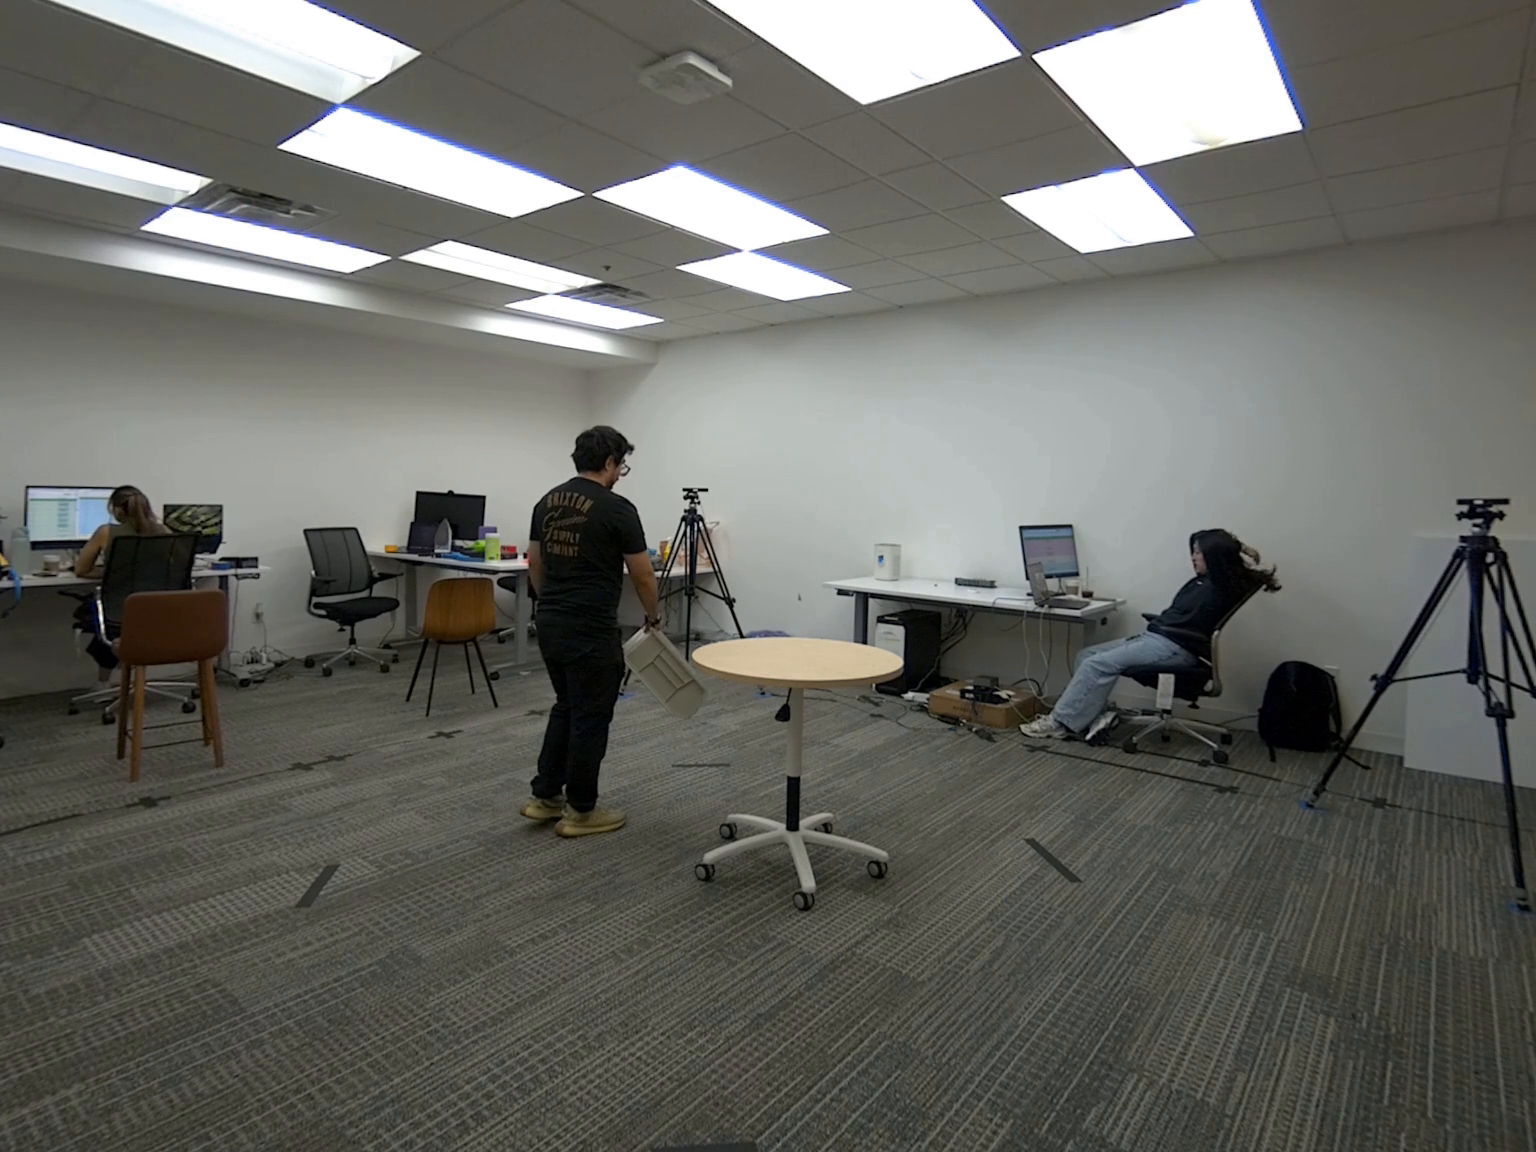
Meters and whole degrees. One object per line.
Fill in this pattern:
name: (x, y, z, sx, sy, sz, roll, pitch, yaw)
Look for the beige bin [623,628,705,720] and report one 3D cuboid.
beige bin: (-0.451, 0.403, 3.684, 0.189, 0.375, 0.426, -43, 6, -3)
